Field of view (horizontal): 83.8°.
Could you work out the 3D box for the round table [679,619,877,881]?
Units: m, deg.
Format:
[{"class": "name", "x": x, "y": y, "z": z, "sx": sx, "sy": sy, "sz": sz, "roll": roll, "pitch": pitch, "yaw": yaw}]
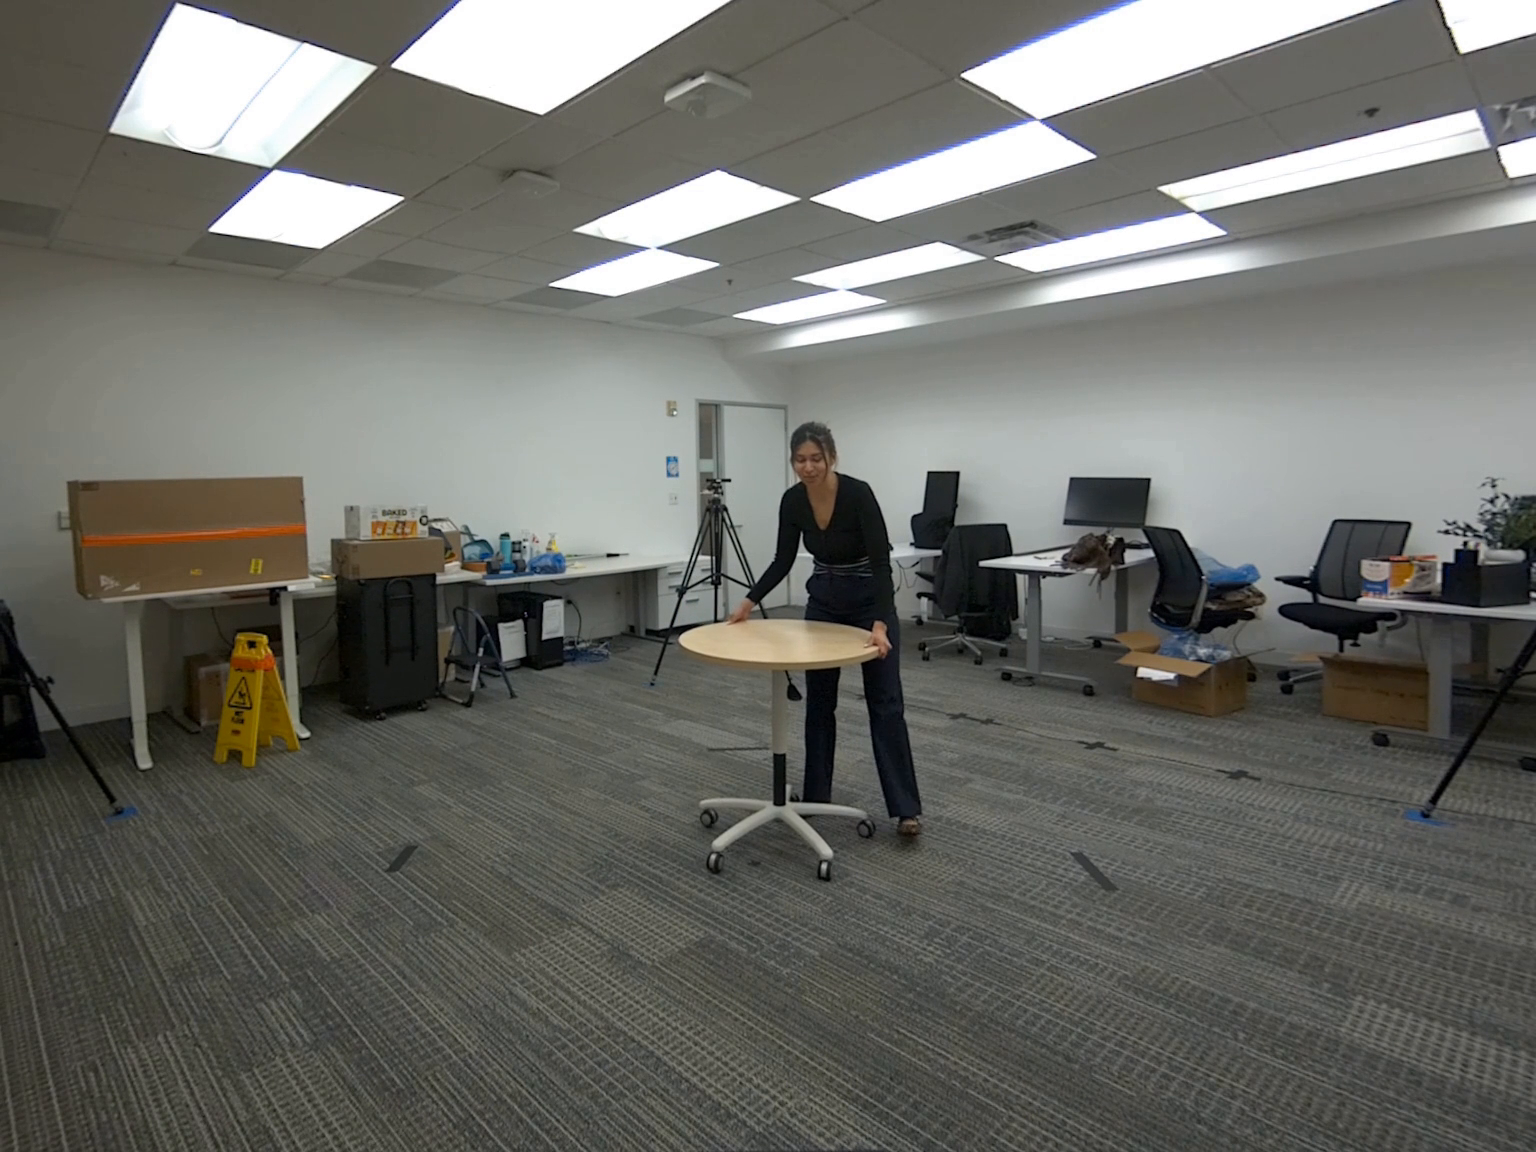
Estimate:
[{"class": "round table", "x": 0.043, "y": 0.631, "z": 3.259, "sx": 0.763, "sy": 0.790, "sz": 0.768, "roll": 0, "pitch": 6, "yaw": -2}]
